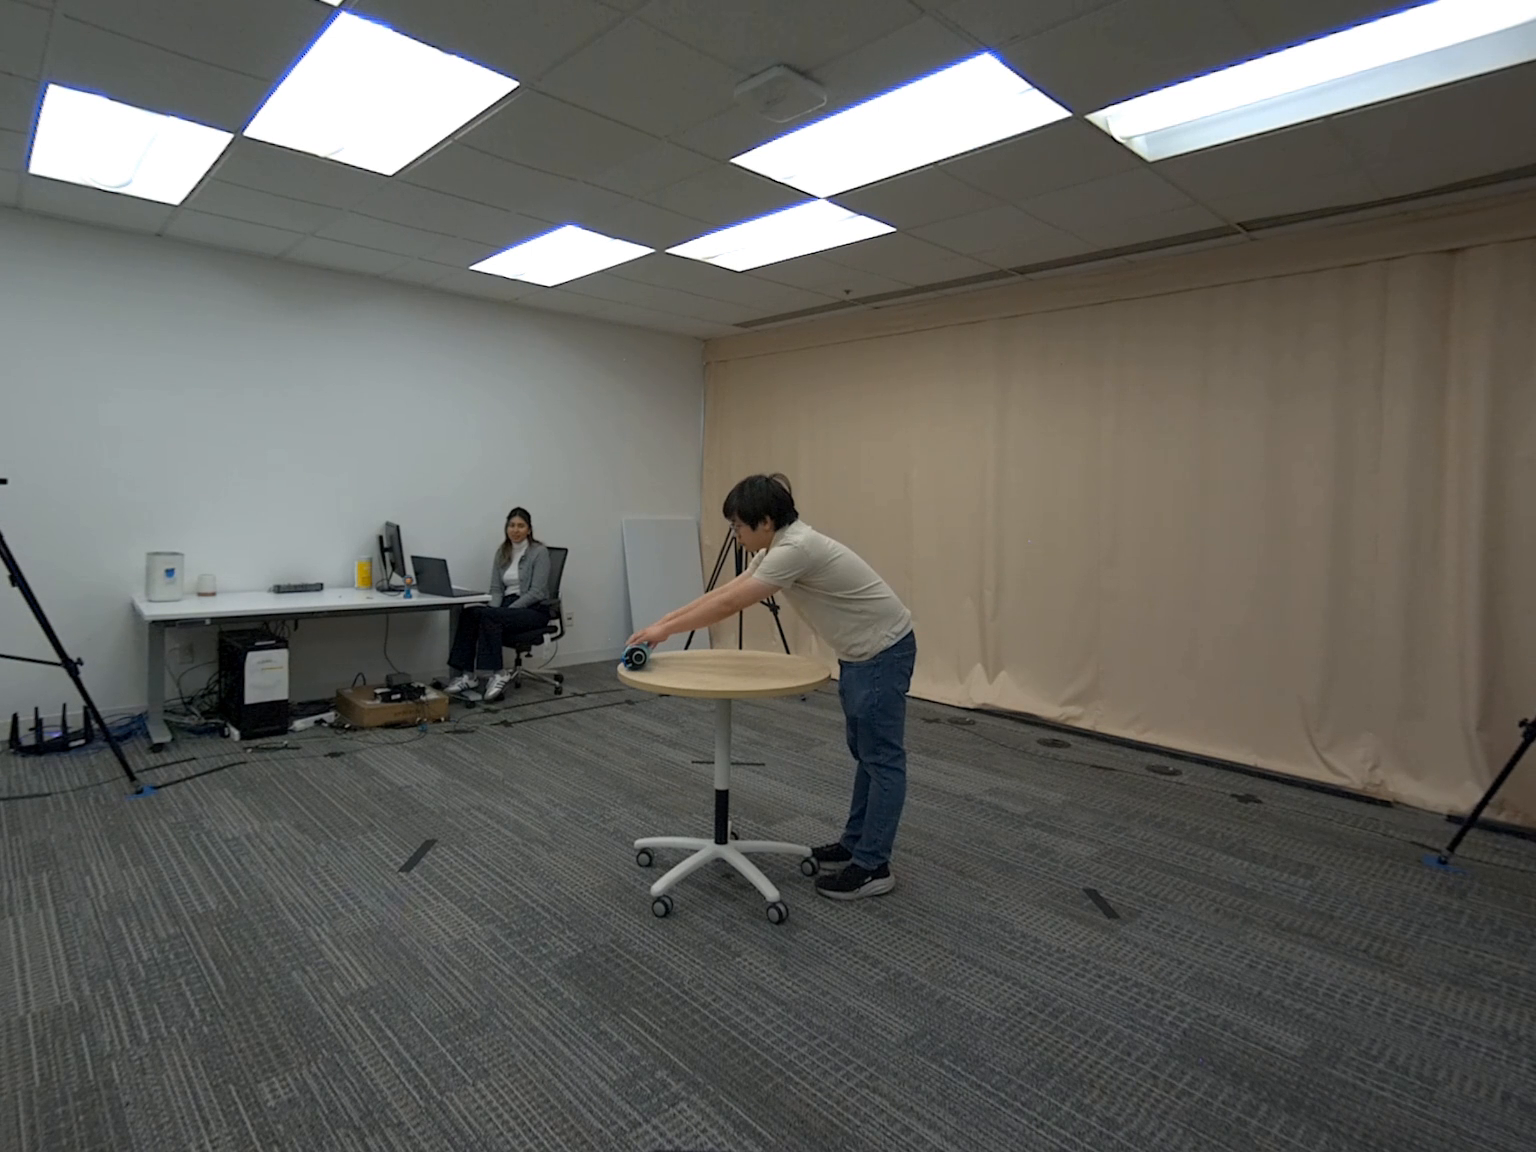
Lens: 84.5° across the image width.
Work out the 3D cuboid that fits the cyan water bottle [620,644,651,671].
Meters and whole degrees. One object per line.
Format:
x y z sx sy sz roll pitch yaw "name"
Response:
-0.474 0.284 3.050 0.092 0.092 0.284 1 6 -1 "cyan water bottle"
